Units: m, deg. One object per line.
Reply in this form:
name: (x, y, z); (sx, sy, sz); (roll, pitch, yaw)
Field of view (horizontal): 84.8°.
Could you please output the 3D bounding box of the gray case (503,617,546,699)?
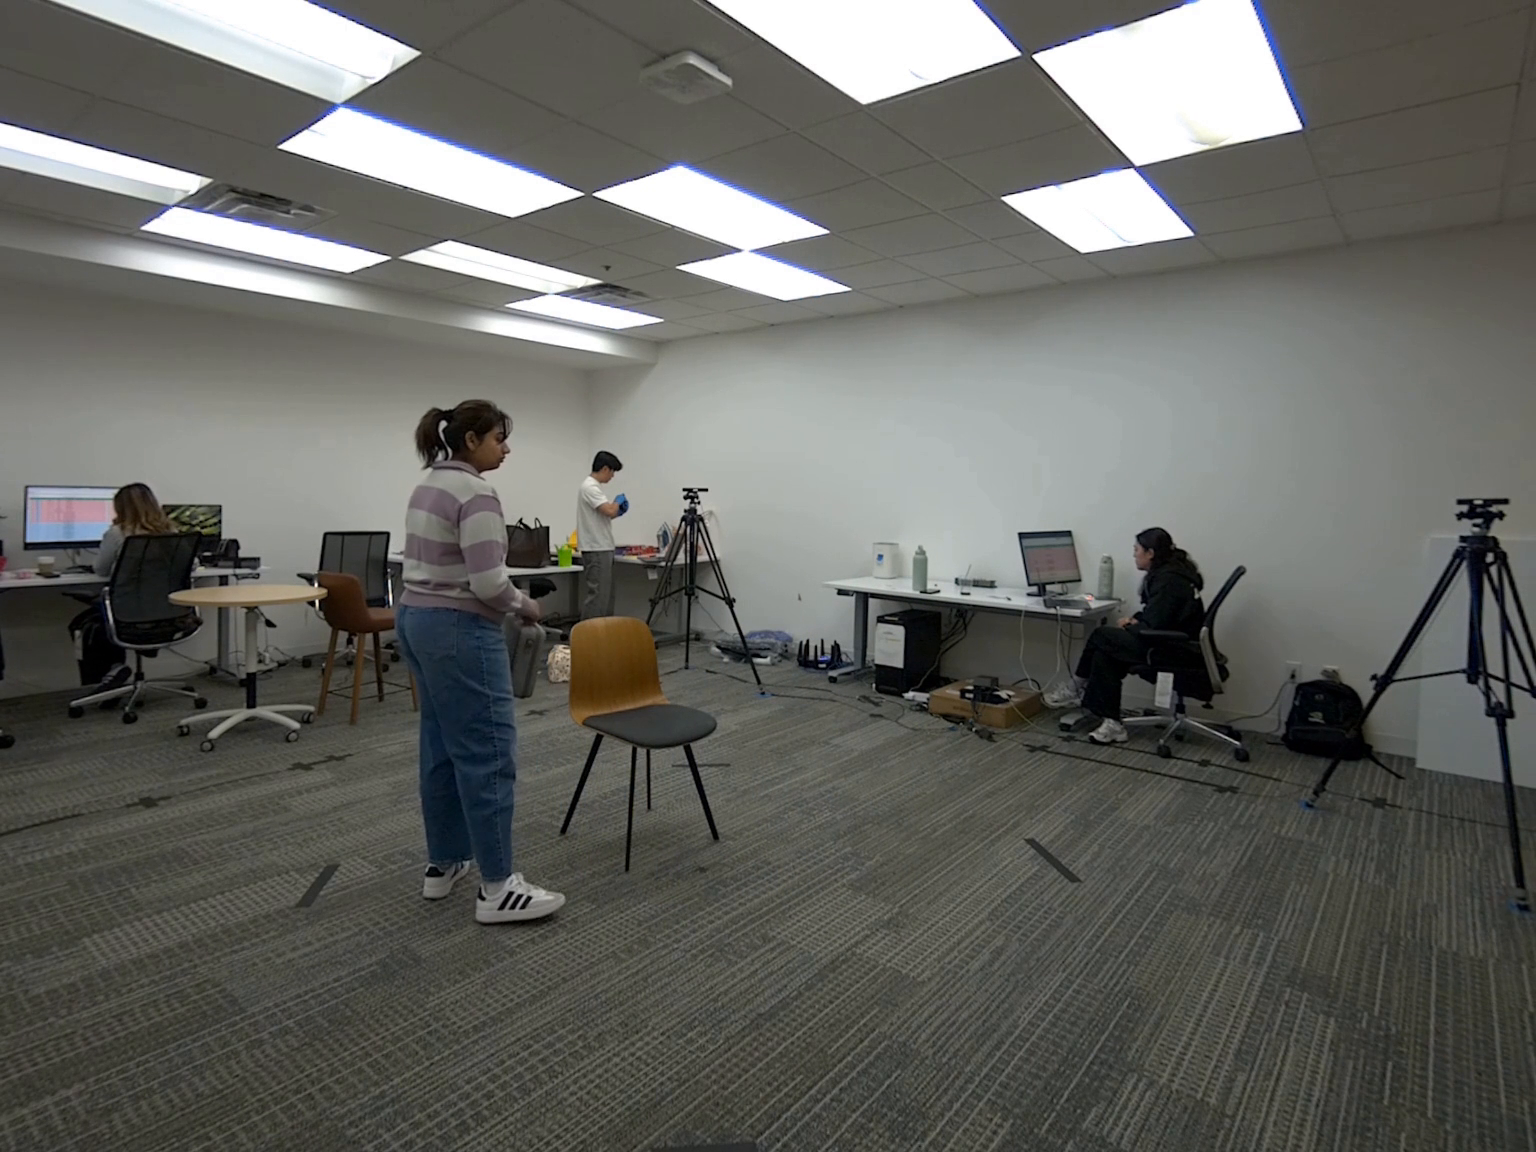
gray case: (-0.903, 0.277, 3.036); (0.101, 0.260, 0.266); (10, 5, -31)
